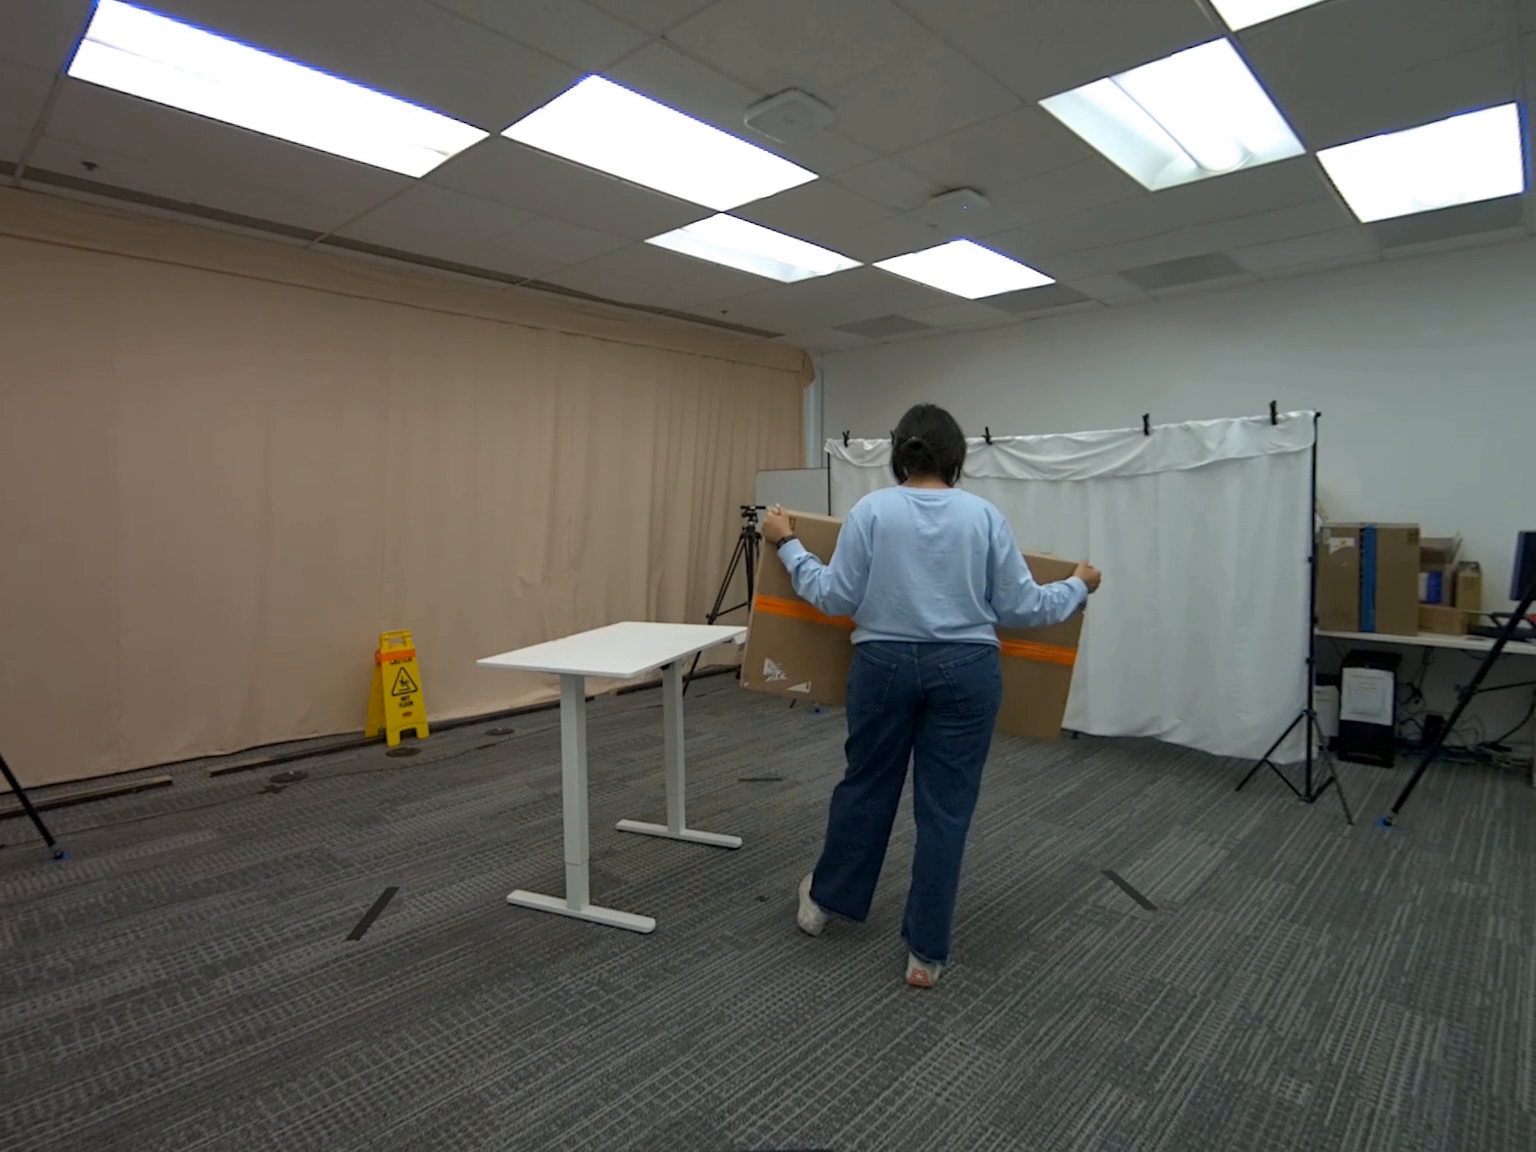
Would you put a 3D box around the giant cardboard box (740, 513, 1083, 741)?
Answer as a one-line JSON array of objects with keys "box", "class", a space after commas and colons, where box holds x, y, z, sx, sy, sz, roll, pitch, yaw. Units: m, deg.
[{"box": [0.461, 0.131, 2.854, 1.026, 0.576, 0.427, 9, 6, 0], "class": "giant cardboard box"}]
